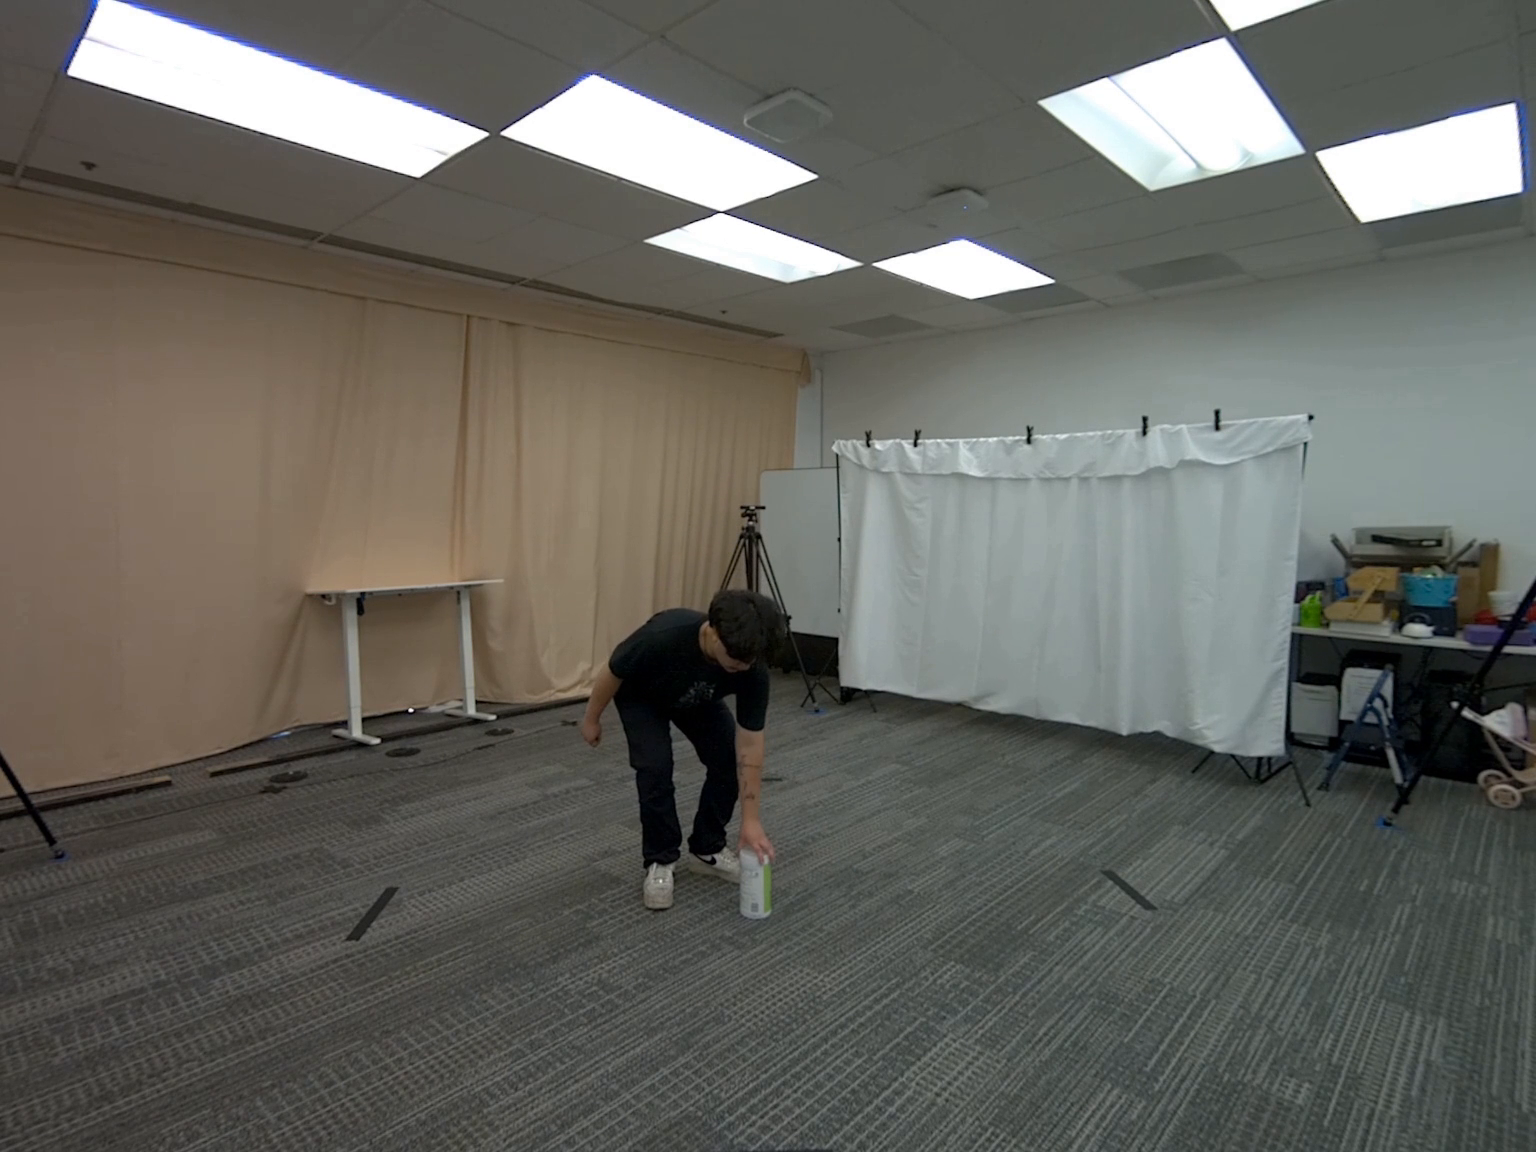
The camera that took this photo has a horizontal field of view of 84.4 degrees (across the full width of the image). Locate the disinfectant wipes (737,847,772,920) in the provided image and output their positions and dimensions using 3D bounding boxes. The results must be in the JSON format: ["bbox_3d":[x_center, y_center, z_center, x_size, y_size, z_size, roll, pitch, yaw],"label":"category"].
[{"bbox_3d":[-0.037,1.052,2.876,0.118,0.217,0.118,0,2,-2],"label":"disinfectant wipes"}]
